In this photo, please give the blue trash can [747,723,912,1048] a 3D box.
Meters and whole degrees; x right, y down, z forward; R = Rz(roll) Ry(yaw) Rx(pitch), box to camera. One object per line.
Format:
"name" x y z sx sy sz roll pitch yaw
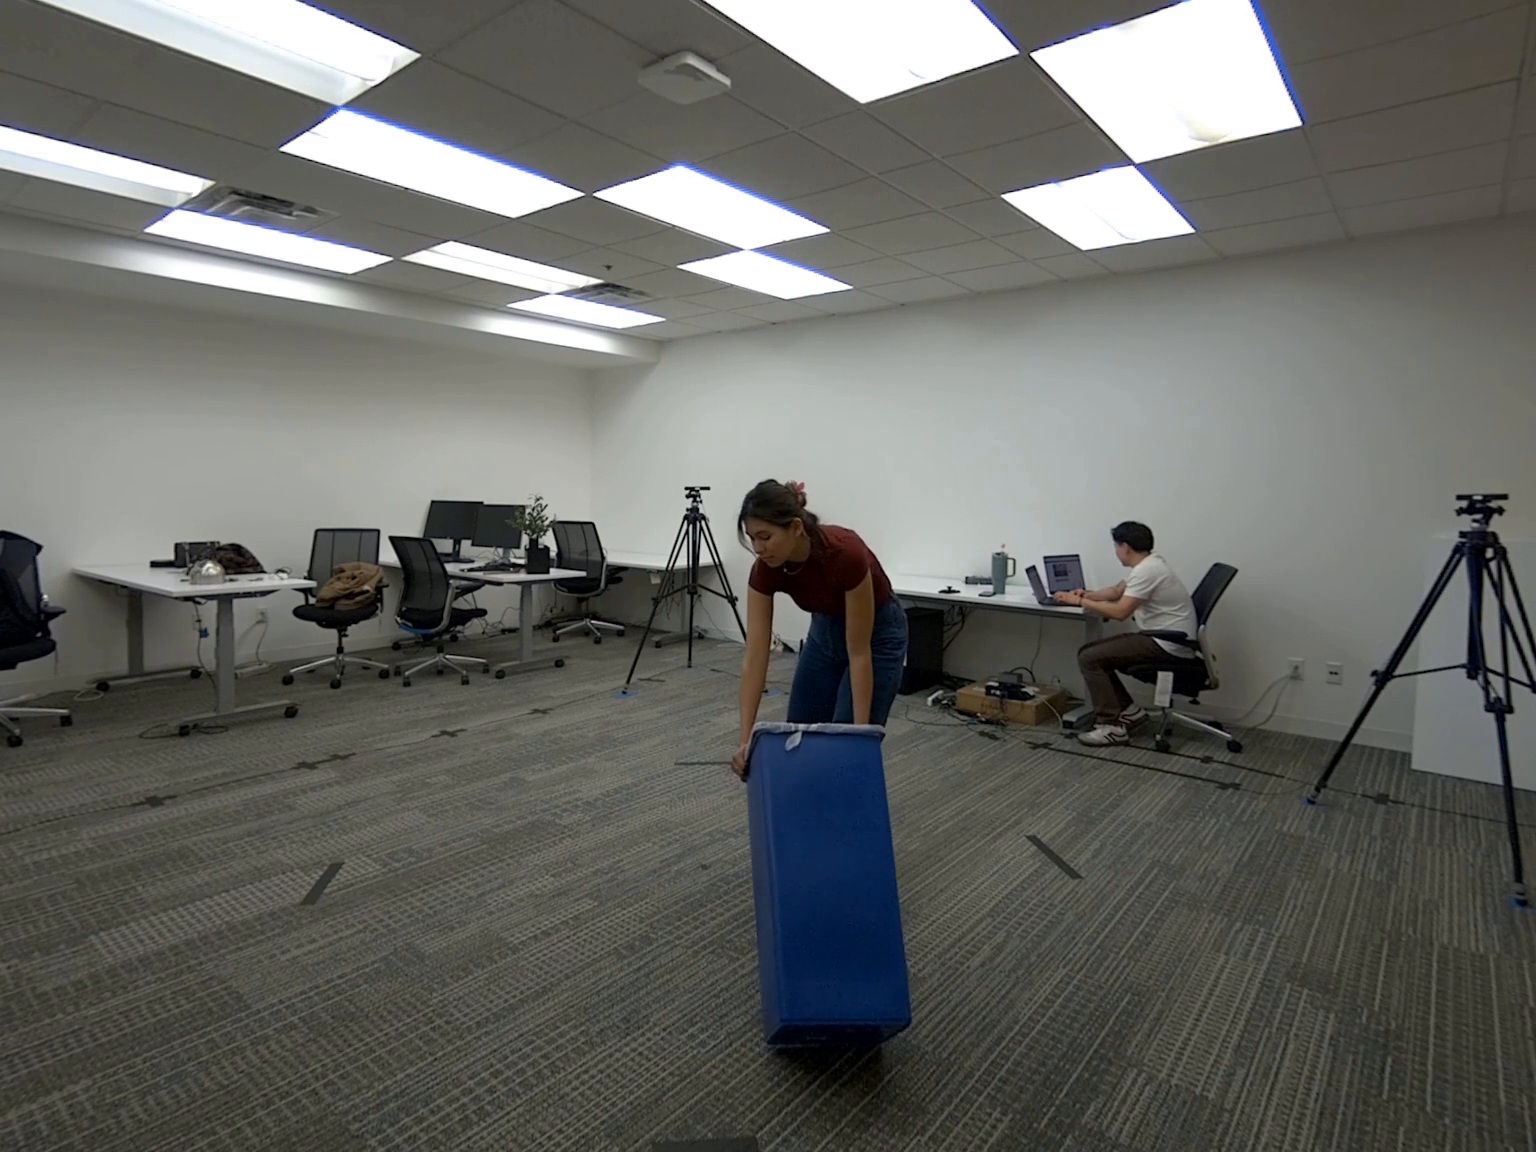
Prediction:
"blue trash can" 0.122 0.802 2.238 0.376 0.734 0.366 2 -37 -6
